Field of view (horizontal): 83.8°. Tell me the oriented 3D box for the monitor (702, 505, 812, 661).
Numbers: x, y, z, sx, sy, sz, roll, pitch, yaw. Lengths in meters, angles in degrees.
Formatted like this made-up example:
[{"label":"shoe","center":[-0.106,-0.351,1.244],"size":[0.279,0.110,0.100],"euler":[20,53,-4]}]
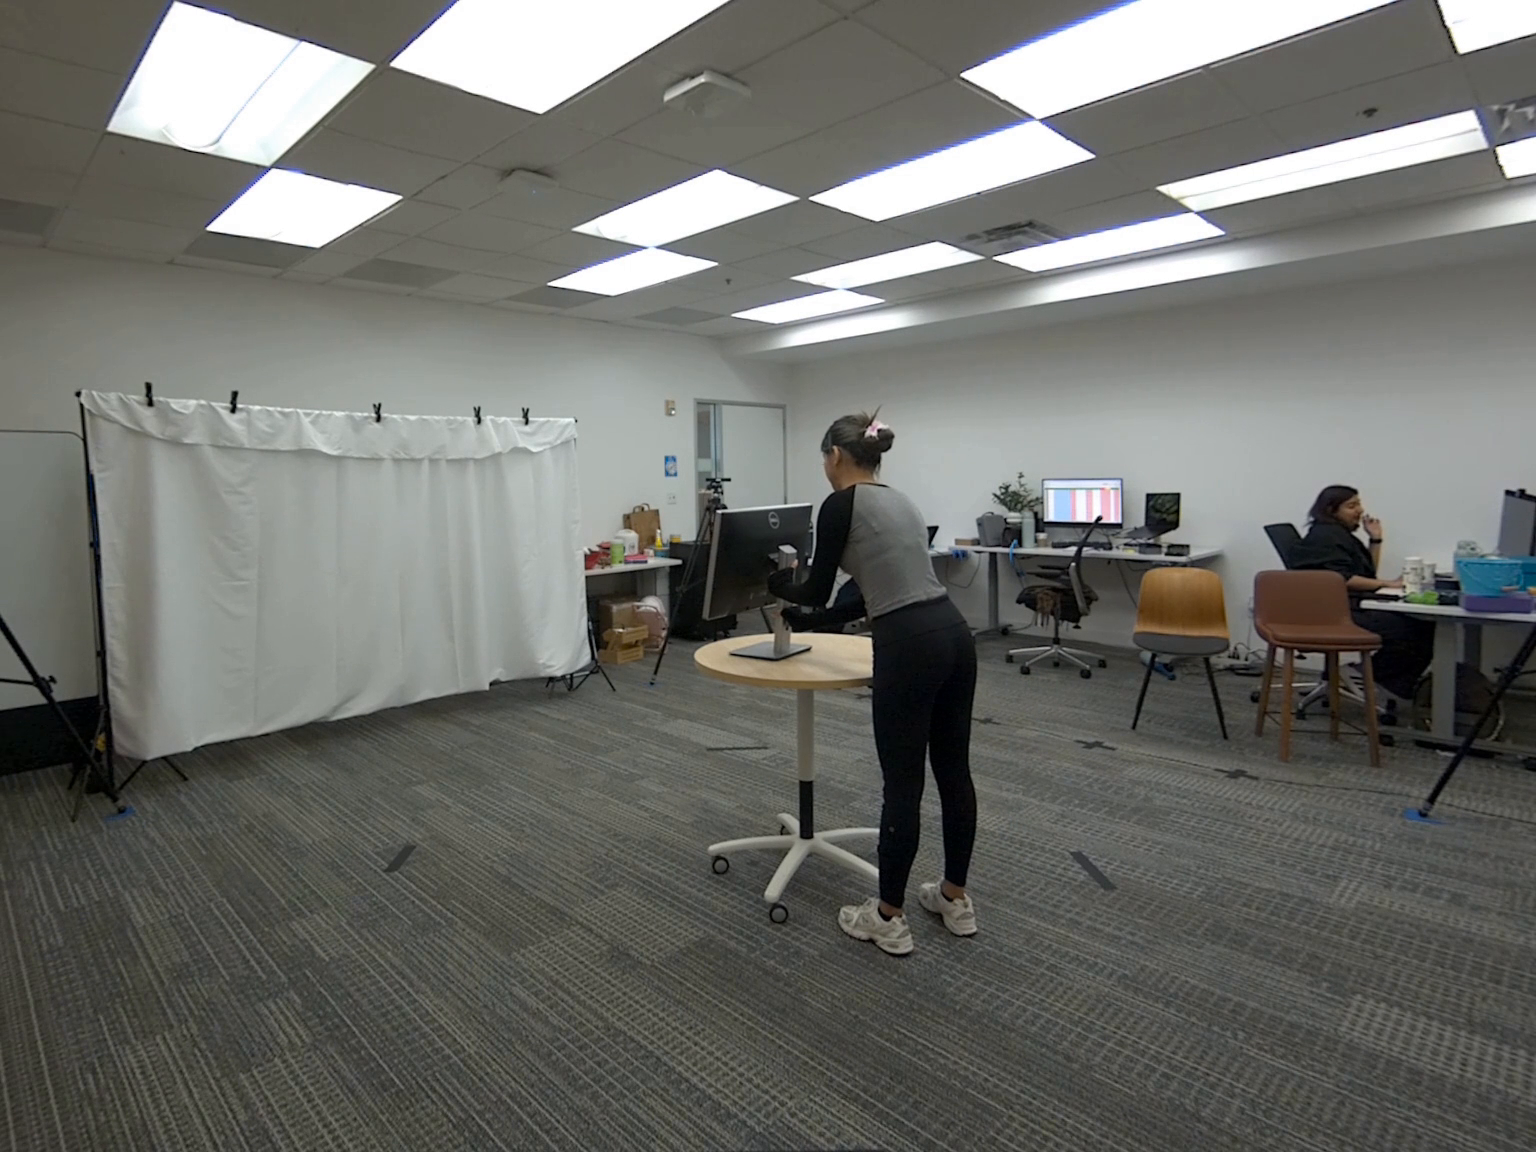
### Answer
[{"label":"monitor","center":[0.007,0.019,2.966],"size":[0.179,0.516,0.518],"euler":[-9,1,36]}]
